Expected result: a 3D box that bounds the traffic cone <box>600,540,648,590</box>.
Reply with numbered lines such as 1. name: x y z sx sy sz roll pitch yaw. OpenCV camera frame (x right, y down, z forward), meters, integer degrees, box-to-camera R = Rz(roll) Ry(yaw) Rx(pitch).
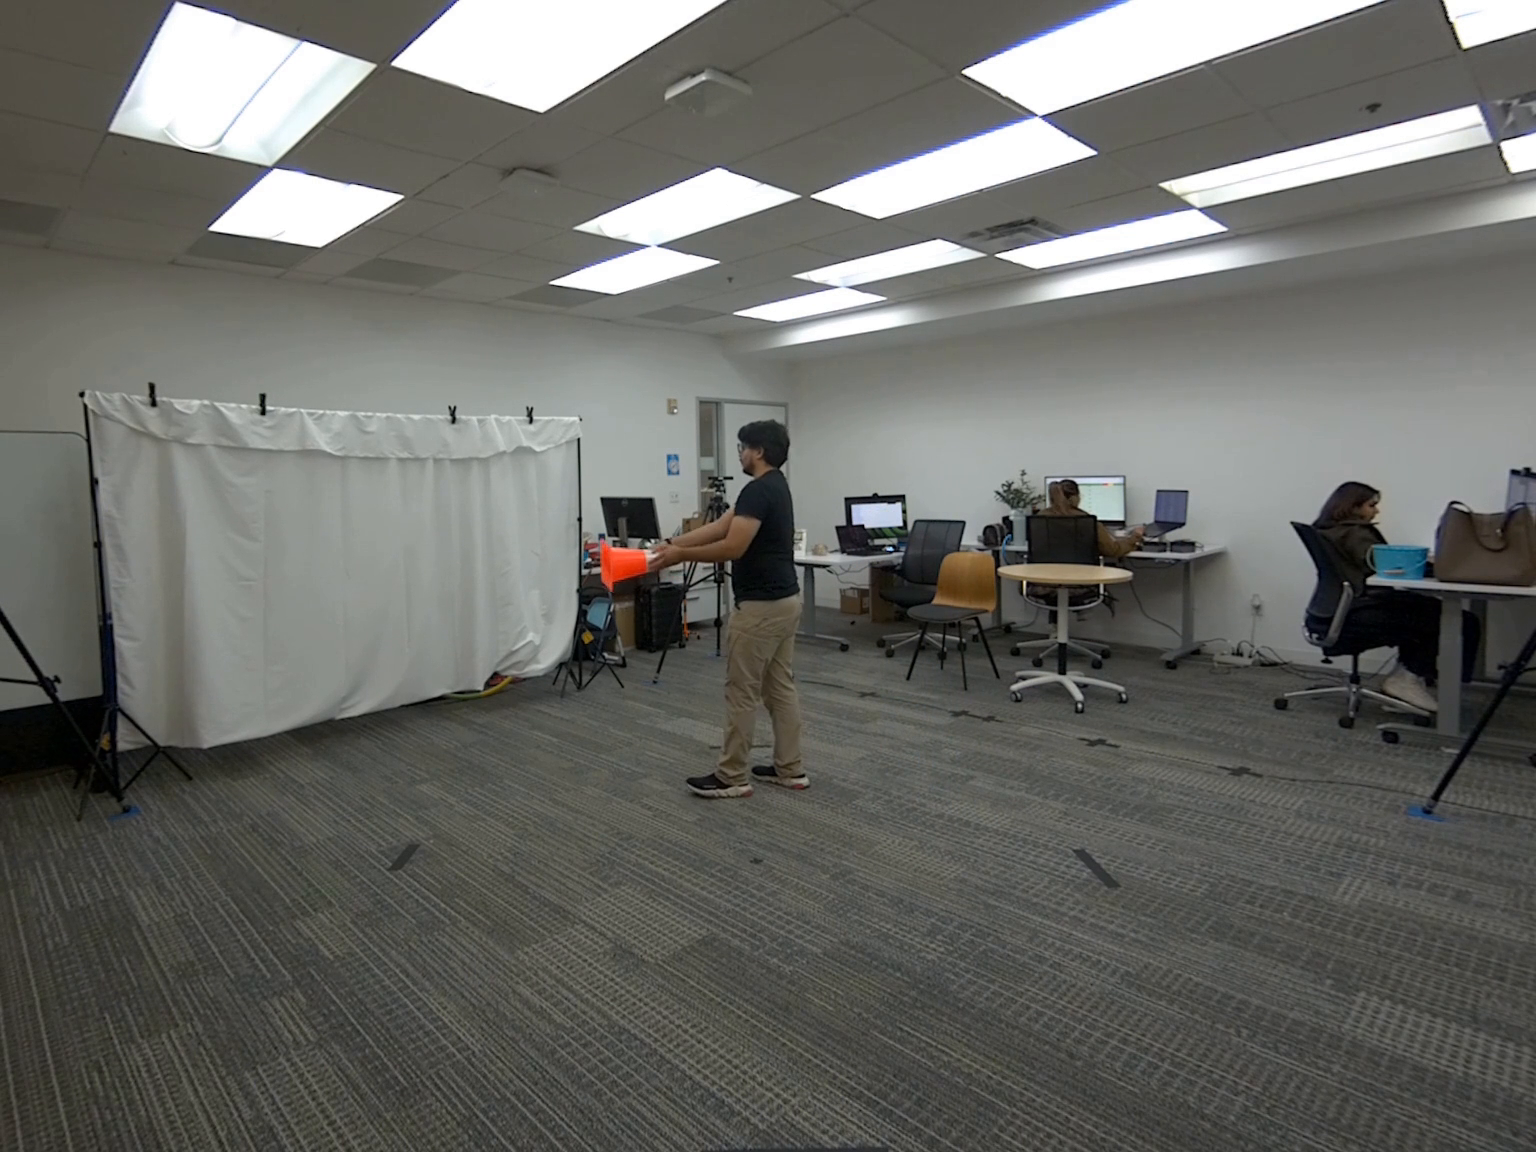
1. traffic cone: -0.530 -0.057 3.788 0.376 0.203 0.210 0 16 -22
